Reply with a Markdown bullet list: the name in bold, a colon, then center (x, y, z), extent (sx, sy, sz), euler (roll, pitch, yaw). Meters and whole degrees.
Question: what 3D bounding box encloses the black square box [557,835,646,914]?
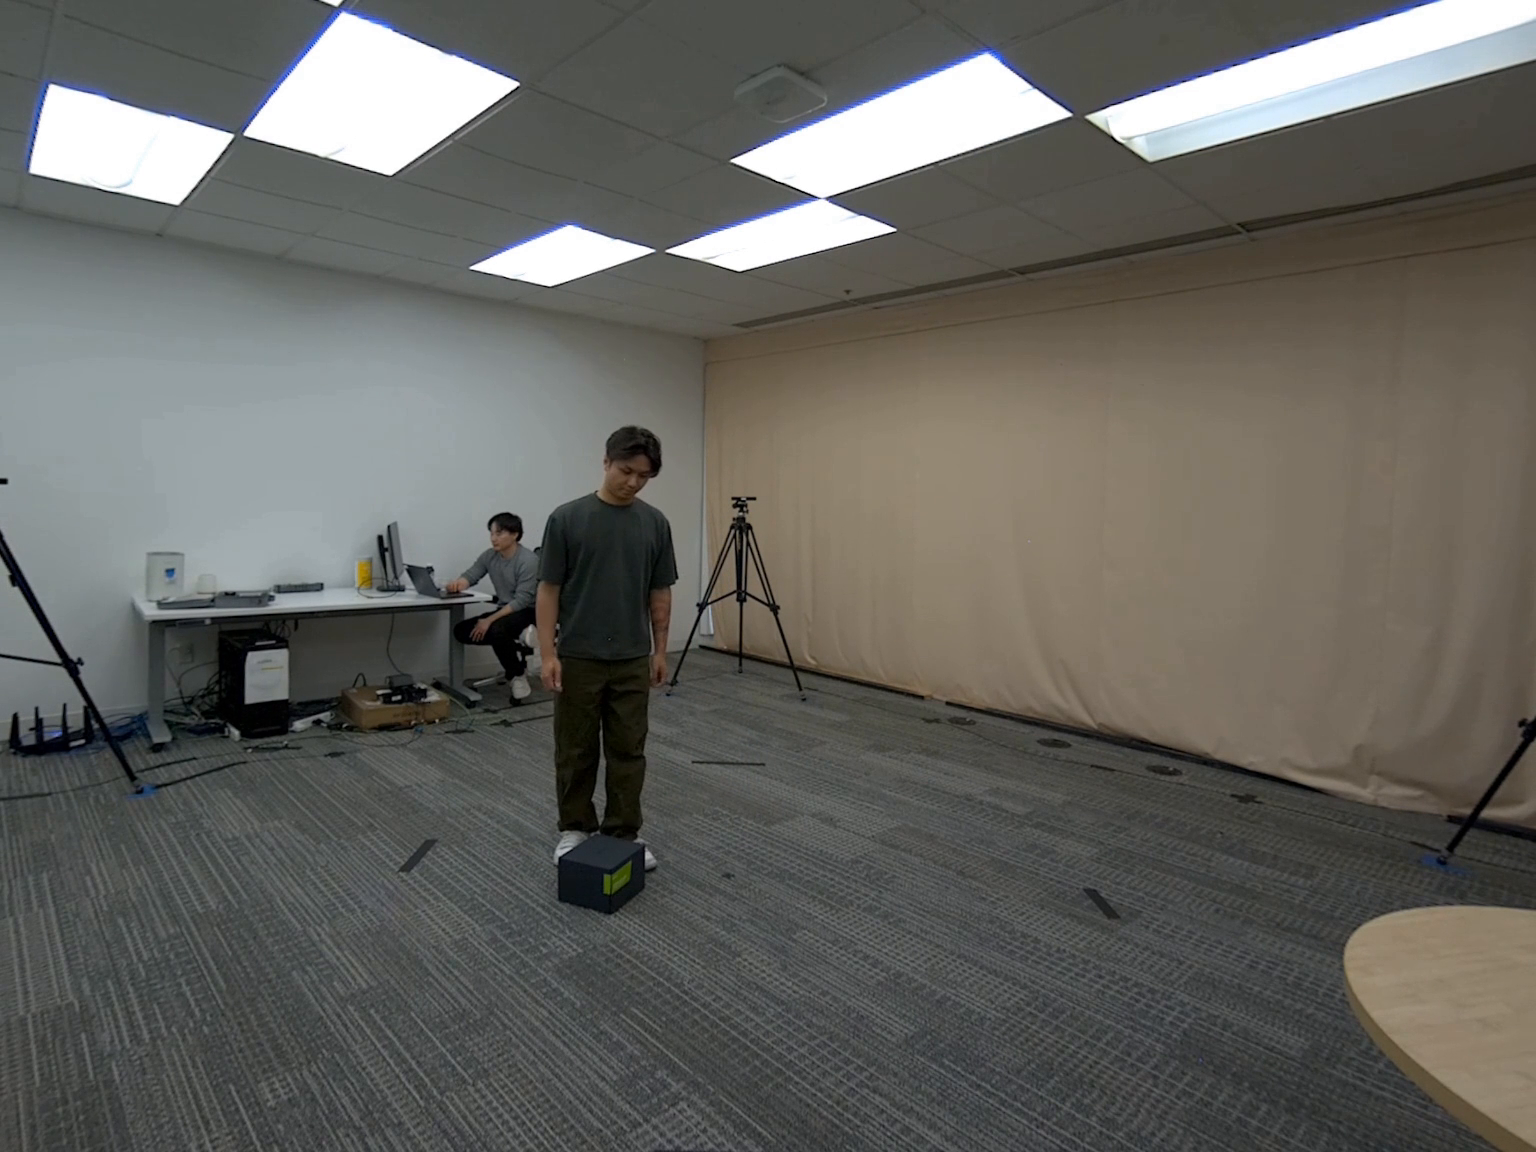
- **black square box**: center (-0.585, 1.031, 2.929), extent (0.221, 0.155, 0.224), euler (4, 5, 23)
